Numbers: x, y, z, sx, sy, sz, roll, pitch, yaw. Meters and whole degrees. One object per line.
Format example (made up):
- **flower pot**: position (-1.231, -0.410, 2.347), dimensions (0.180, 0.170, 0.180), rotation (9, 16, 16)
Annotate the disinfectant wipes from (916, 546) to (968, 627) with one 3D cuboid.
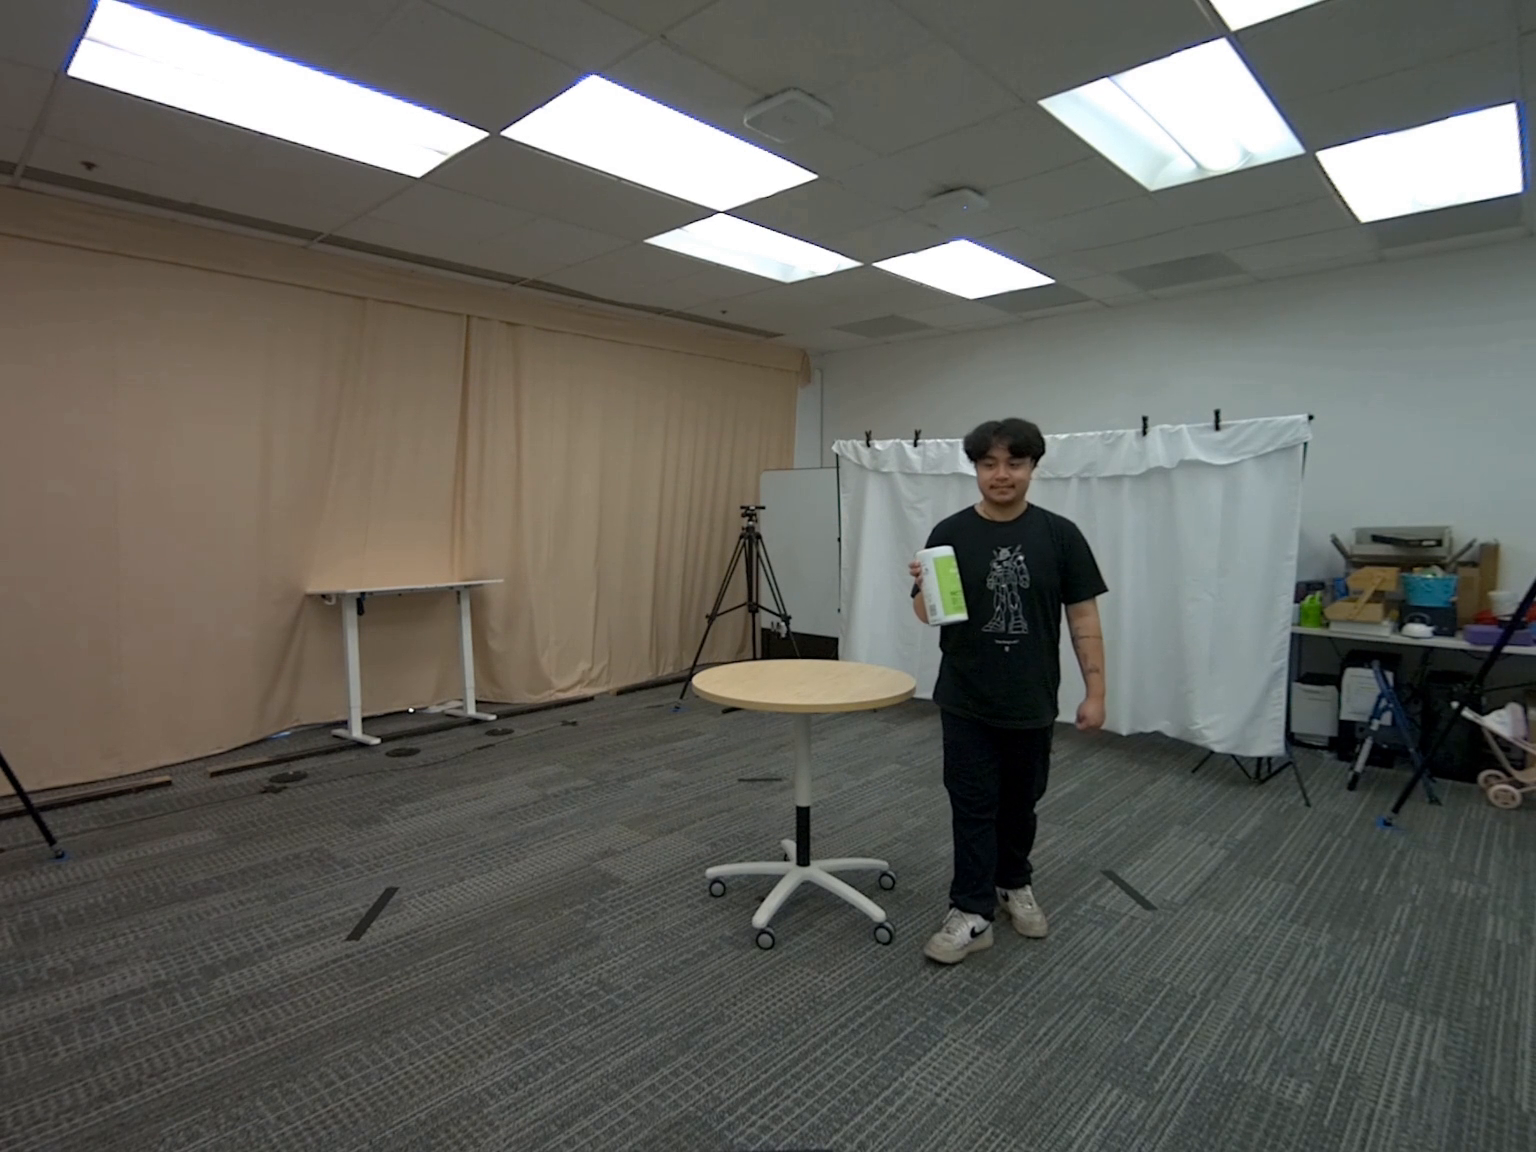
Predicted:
- **disinfectant wipes**: position (0.495, 0.031, 2.402), dimensions (0.117, 0.219, 0.117), rotation (-9, -9, -3)
